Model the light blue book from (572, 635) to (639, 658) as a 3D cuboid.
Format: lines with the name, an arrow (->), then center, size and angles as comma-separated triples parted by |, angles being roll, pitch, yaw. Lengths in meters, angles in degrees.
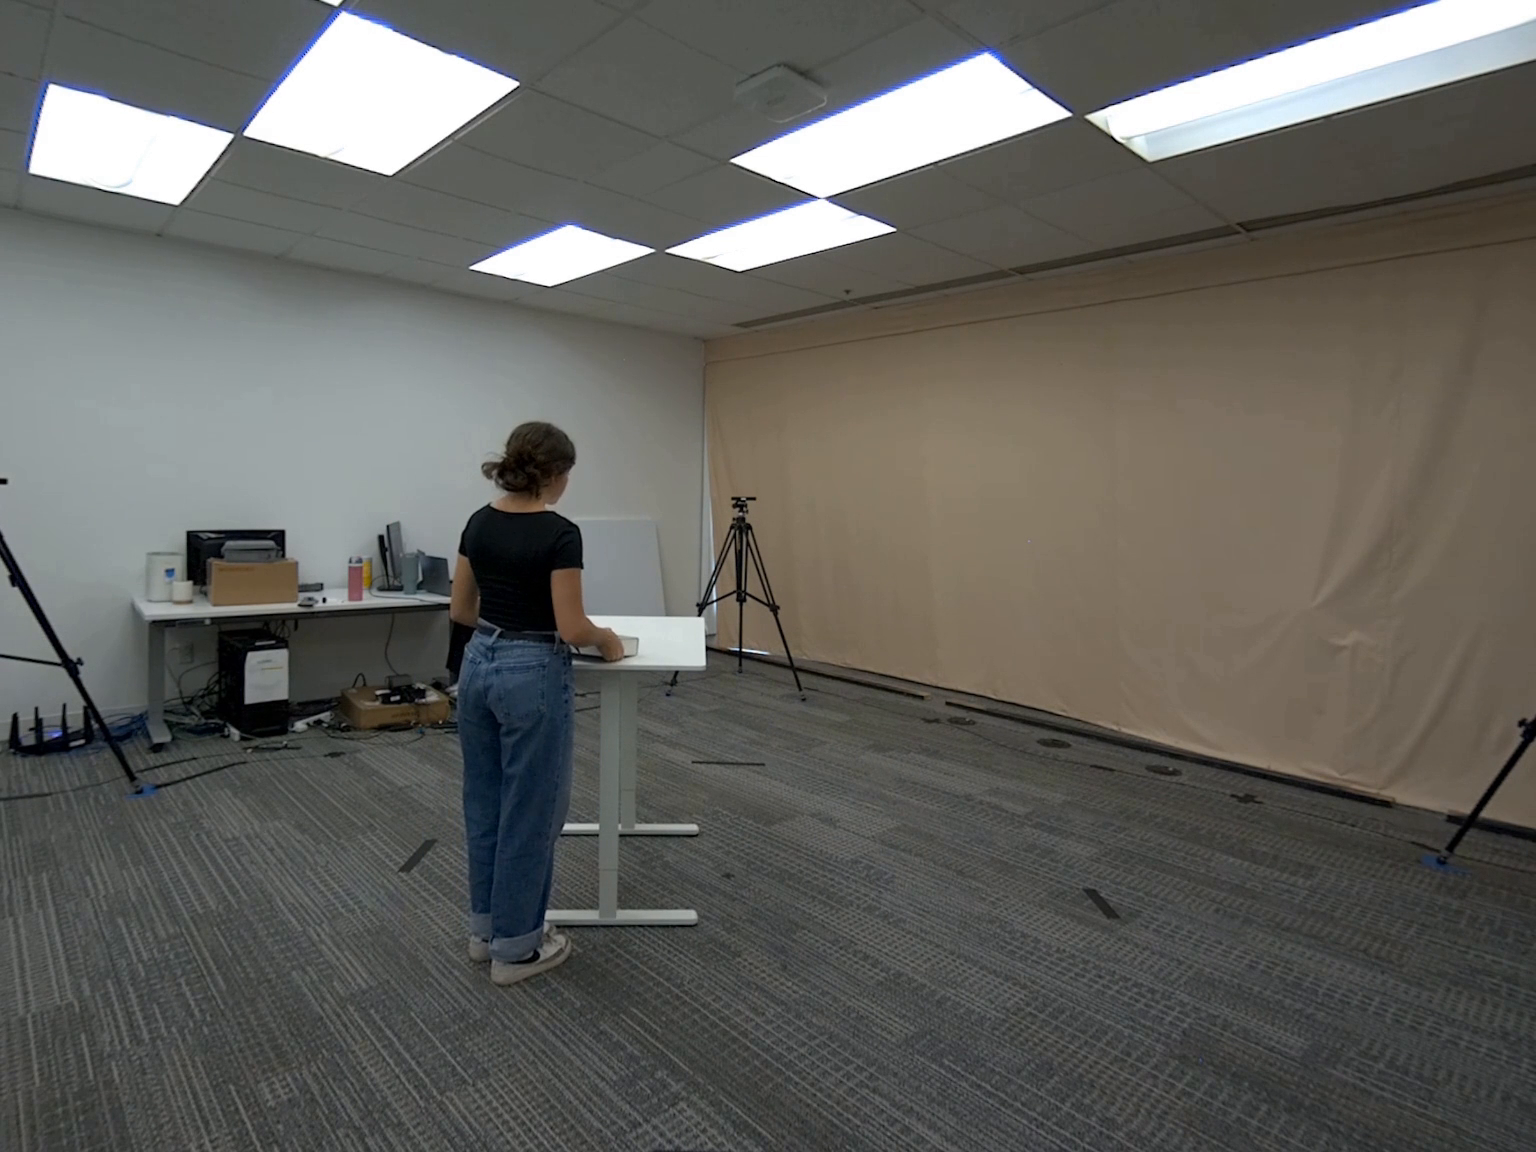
light blue book -> -0.580, 0.219, 2.692 | 0.266, 0.059, 0.187 | 3, 0, 27
